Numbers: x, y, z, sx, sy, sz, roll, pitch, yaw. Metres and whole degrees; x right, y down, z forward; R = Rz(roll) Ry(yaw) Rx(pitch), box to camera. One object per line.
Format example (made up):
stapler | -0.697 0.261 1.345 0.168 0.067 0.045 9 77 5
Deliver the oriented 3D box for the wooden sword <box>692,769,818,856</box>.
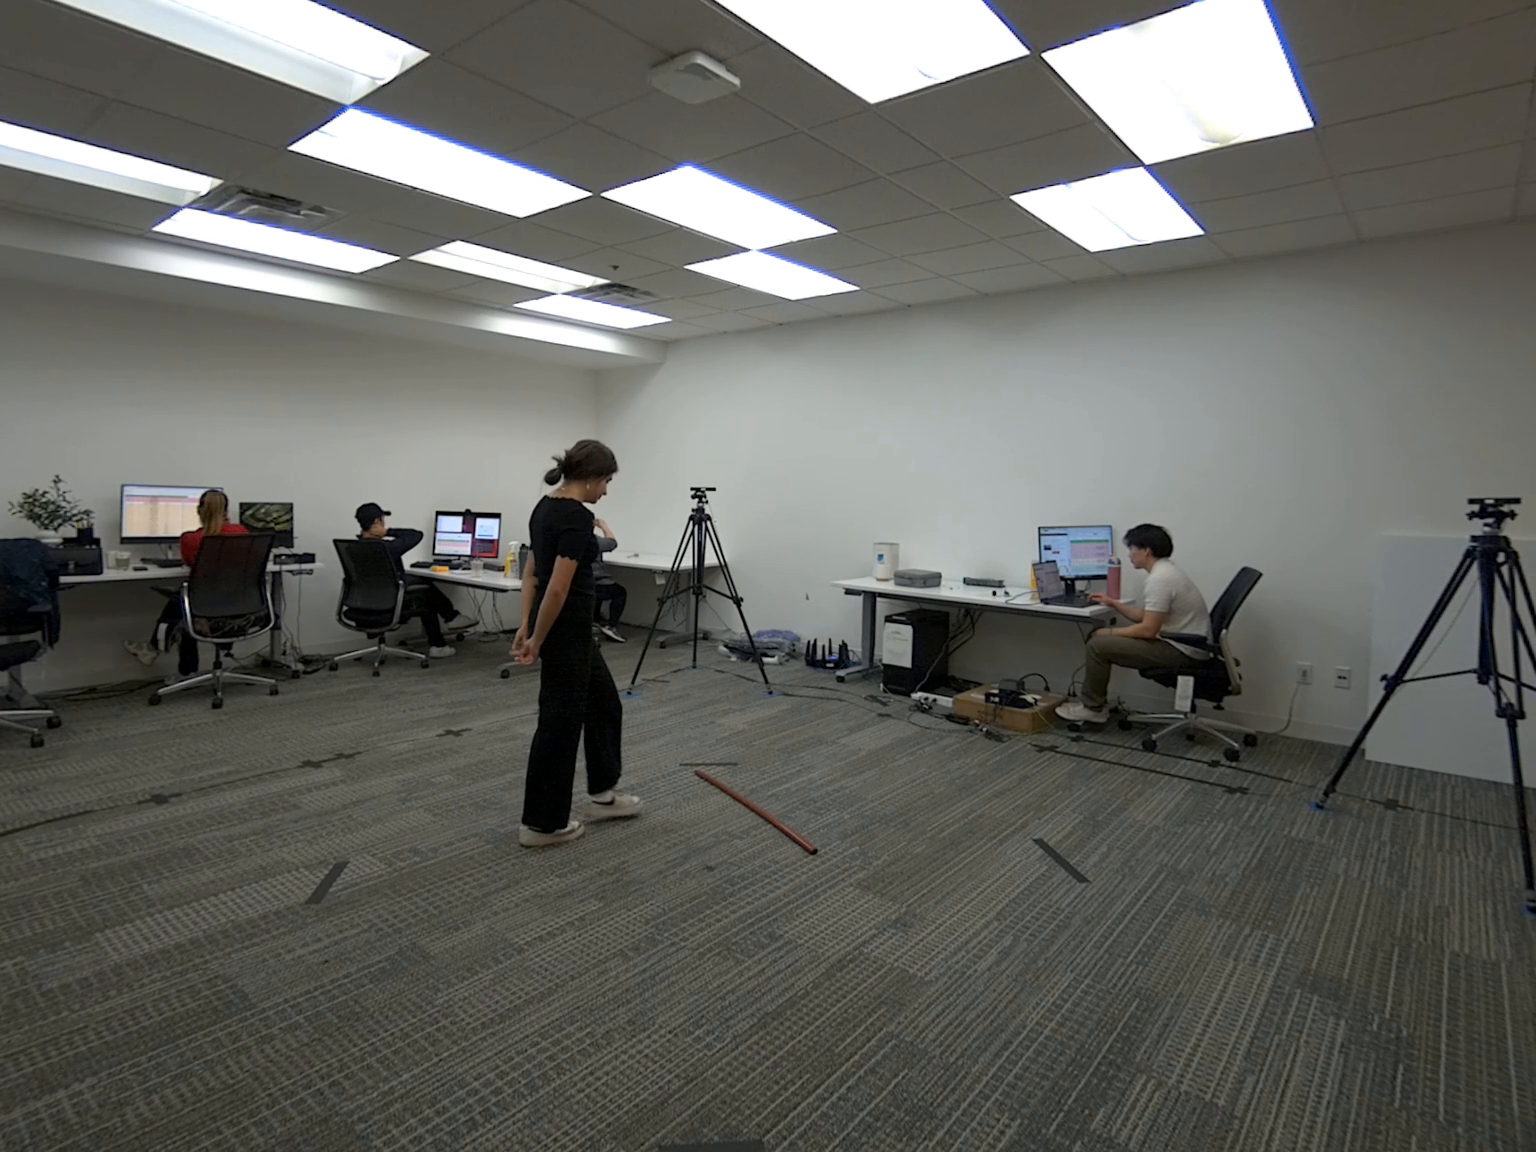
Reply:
wooden sword | -0.090 0.992 3.689 0.050 0.024 1.056 2 4 -30
